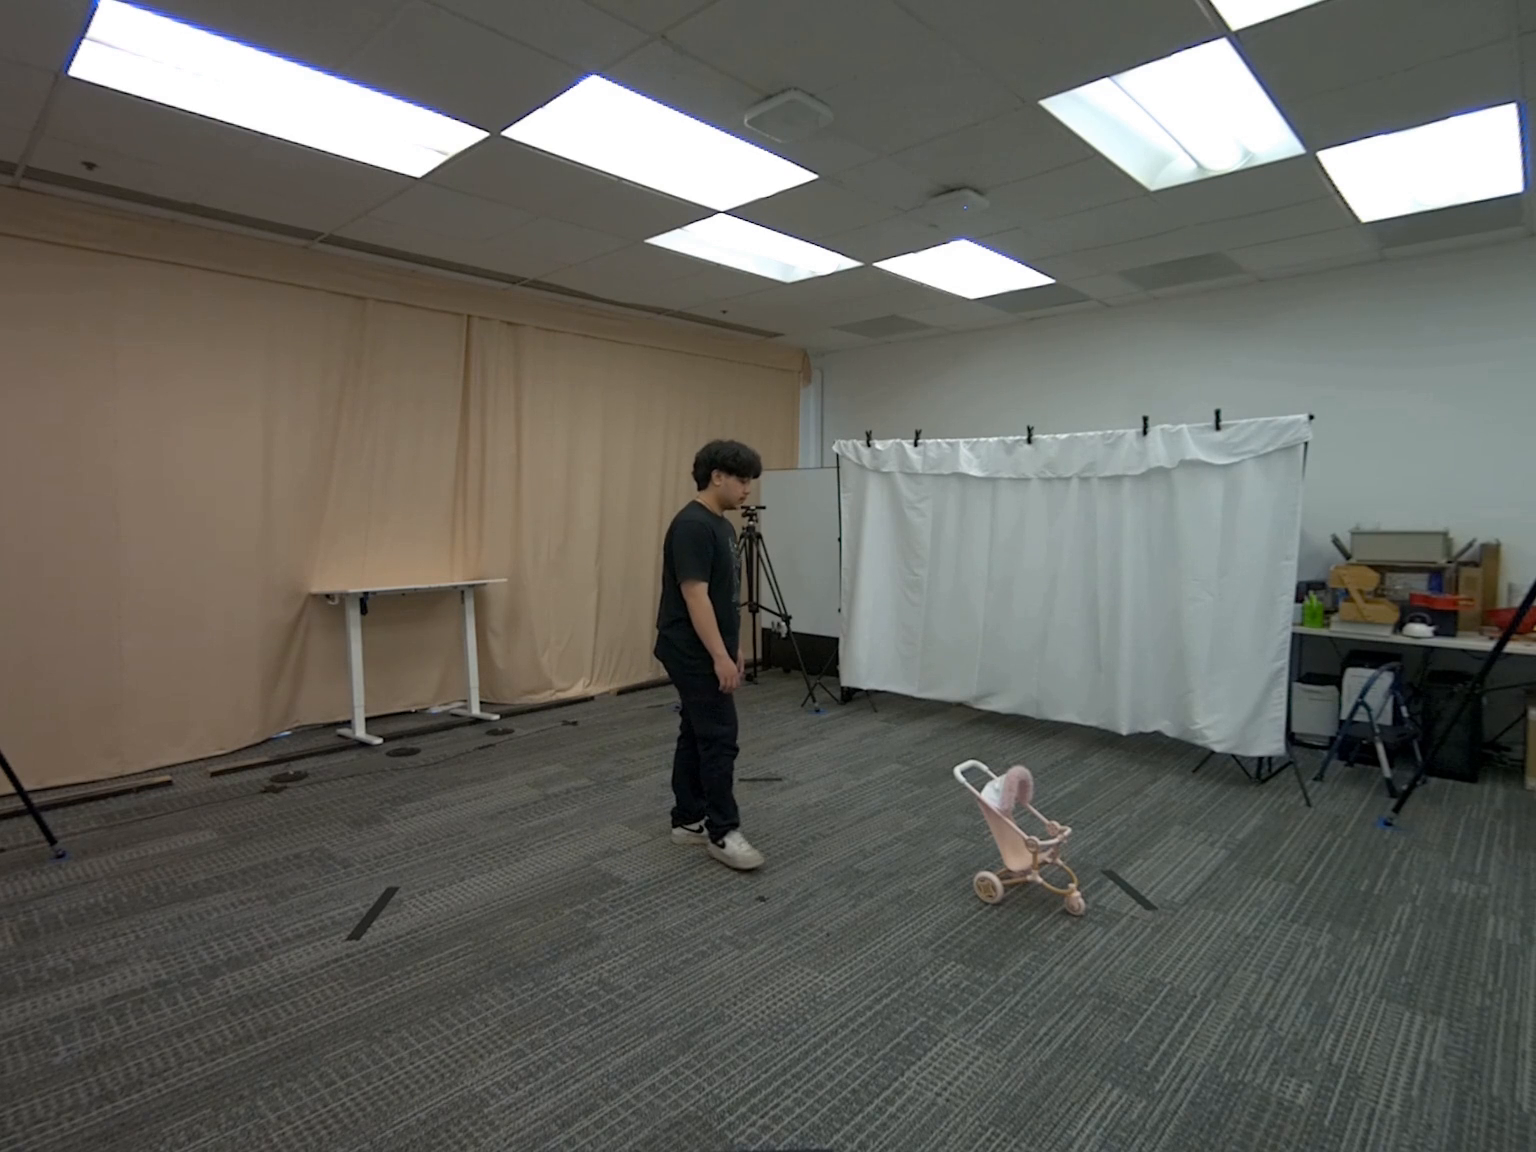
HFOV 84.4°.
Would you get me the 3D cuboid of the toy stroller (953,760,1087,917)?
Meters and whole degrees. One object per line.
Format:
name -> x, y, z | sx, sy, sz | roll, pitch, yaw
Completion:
toy stroller -> 0.904, 0.916, 2.981 | 0.273, 0.539, 0.349 | -2, -12, -45
